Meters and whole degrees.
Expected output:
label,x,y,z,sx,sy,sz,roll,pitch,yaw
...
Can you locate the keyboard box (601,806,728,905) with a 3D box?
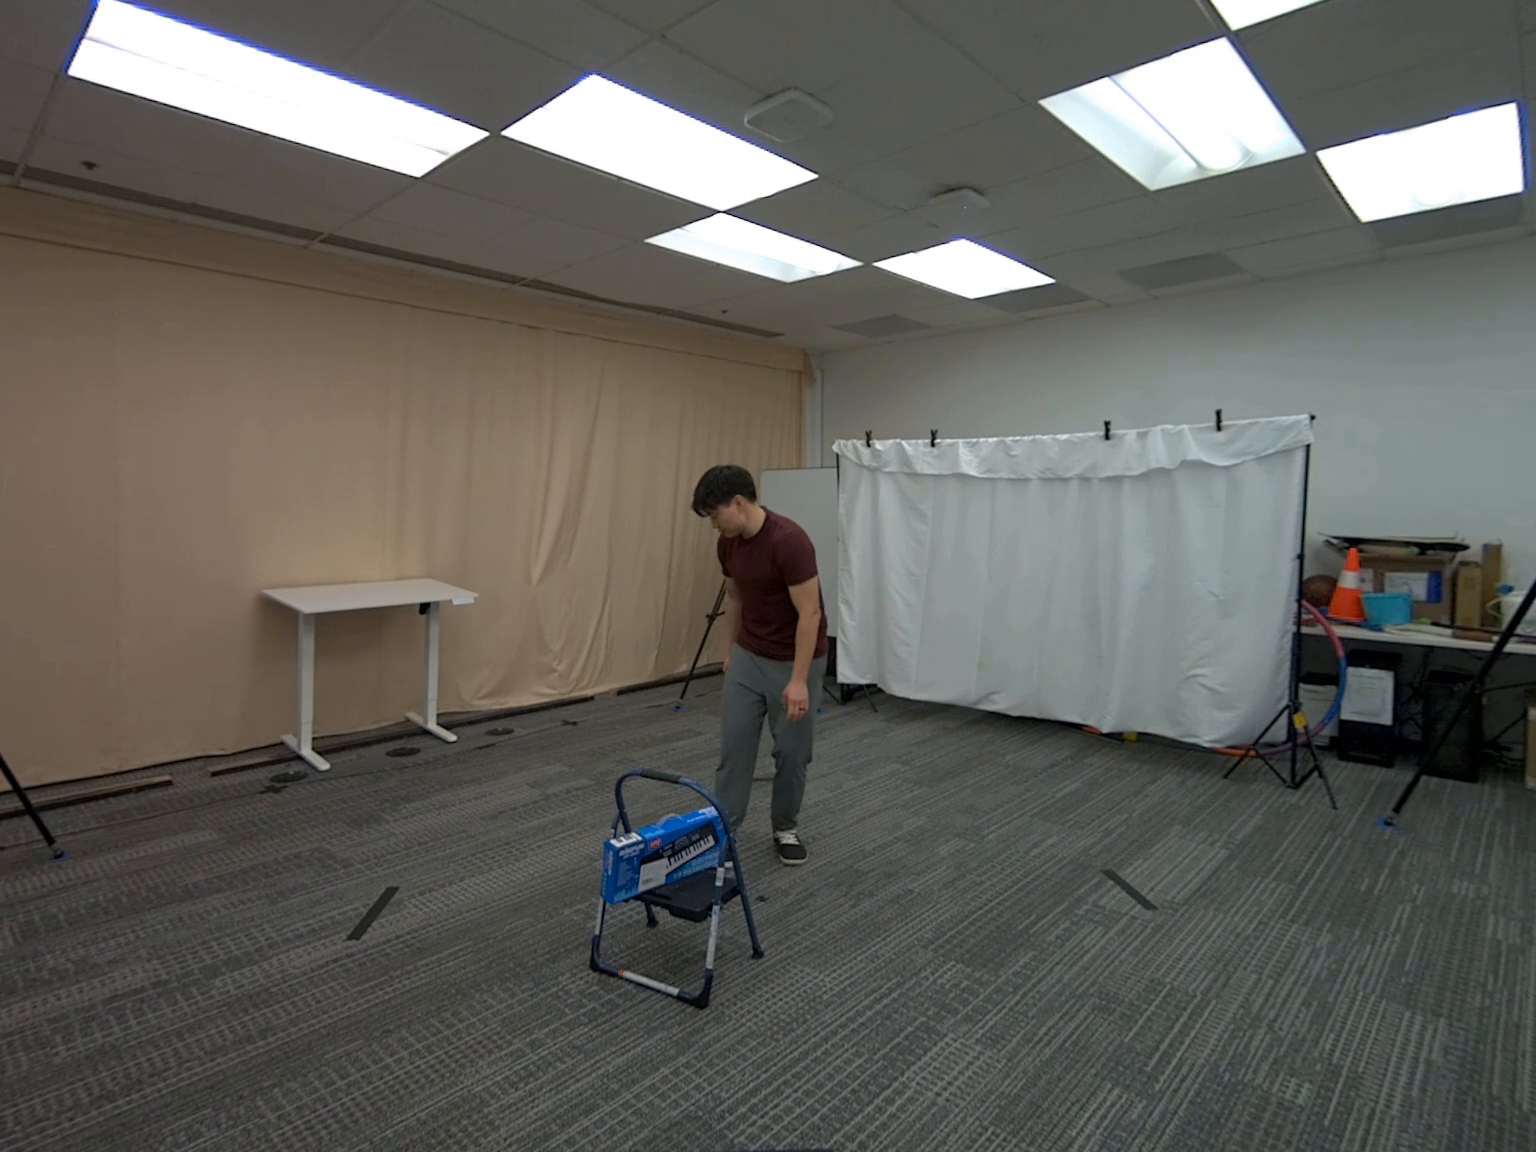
label,x,y,z,sx,sy,sz,roll,pitch,yaw
keyboard box,-0.298,0.828,2.539,0.423,0.175,0.061,-5,13,-44
